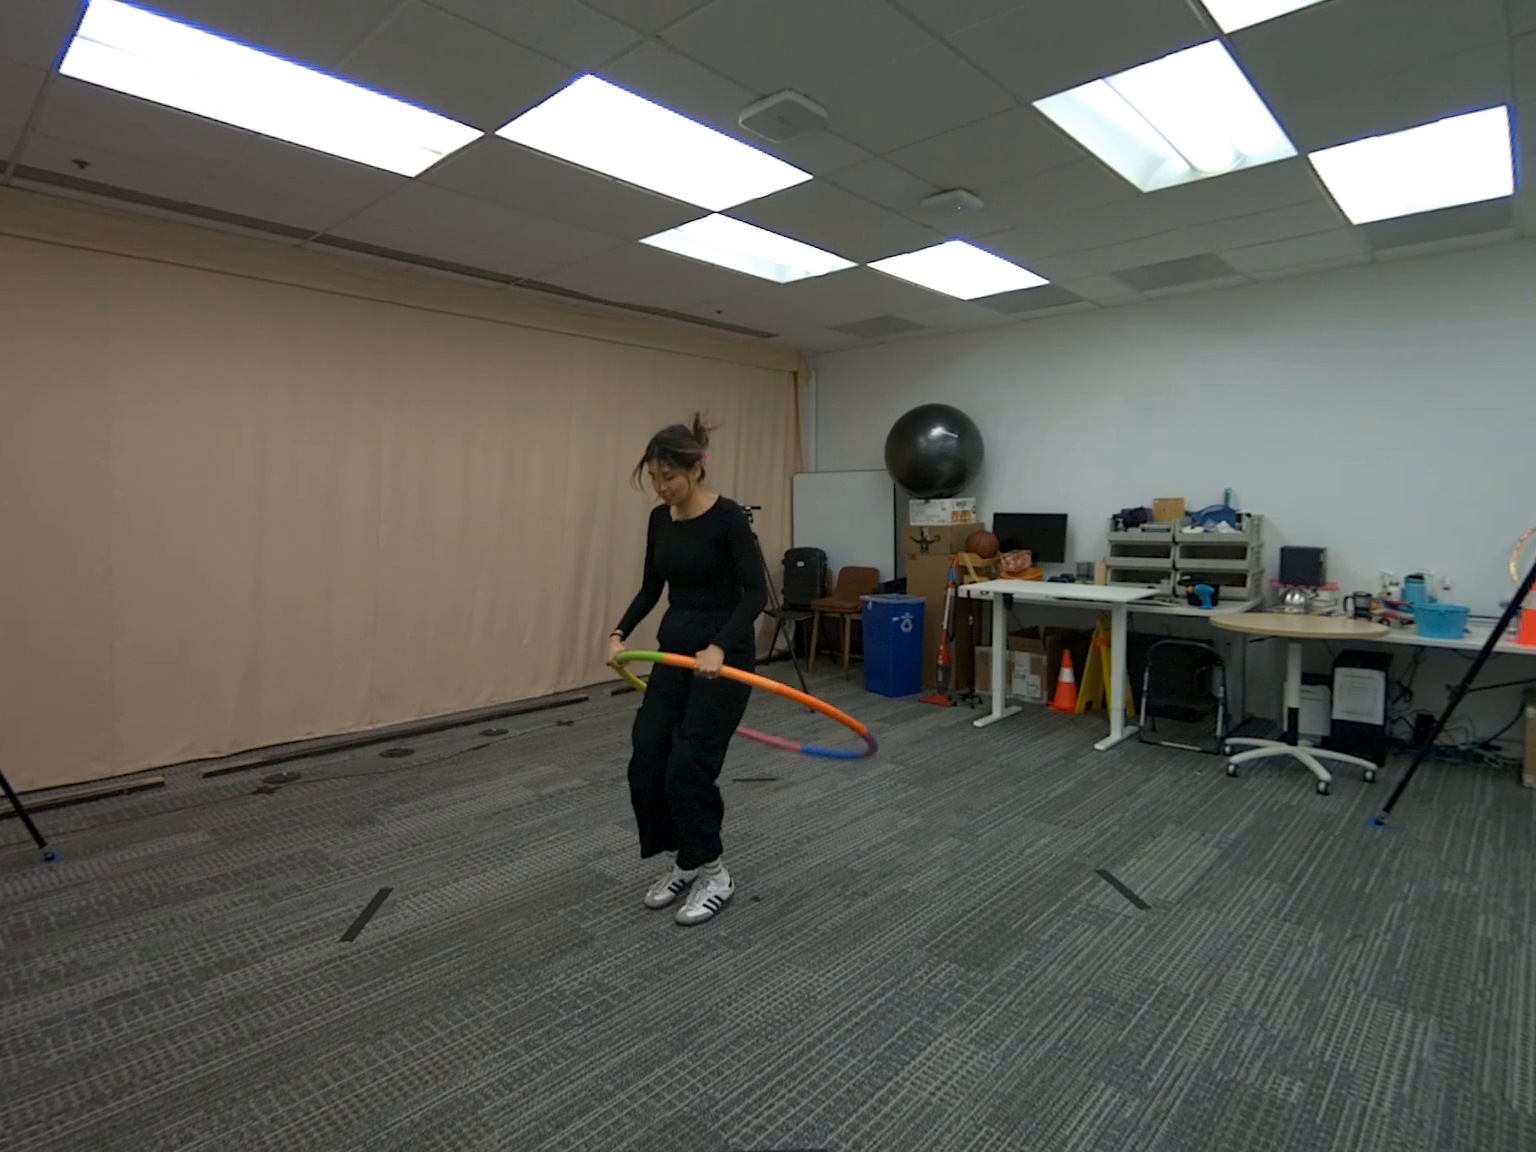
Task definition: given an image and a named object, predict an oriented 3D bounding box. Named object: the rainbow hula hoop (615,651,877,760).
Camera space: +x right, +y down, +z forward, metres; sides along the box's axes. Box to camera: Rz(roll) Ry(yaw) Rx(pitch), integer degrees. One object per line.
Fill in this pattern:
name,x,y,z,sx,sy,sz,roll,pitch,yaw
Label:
rainbow hula hoop,-0.119,0.470,2.988,0.986,0.036,0.967,18,-20,5
